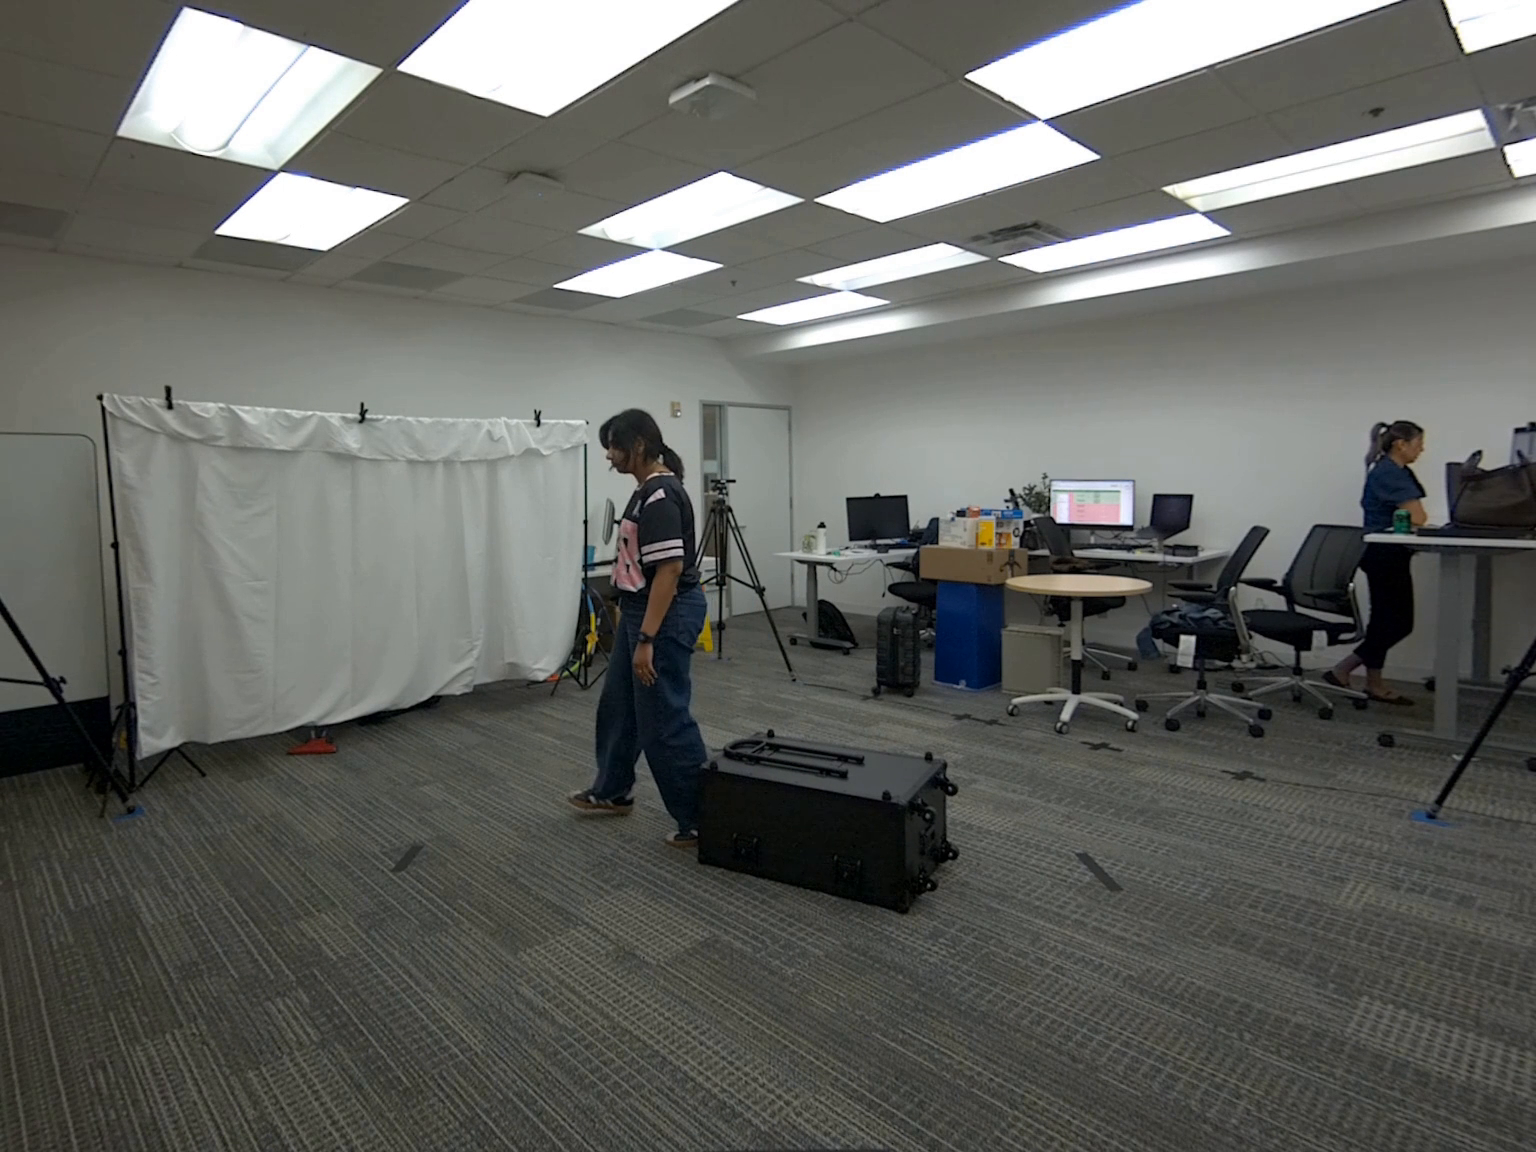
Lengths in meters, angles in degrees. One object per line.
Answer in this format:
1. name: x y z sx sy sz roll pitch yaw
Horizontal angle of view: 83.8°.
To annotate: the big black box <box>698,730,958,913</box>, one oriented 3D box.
1. big black box: 0.238 0.857 3.103 0.891 0.384 0.512 2 5 29
